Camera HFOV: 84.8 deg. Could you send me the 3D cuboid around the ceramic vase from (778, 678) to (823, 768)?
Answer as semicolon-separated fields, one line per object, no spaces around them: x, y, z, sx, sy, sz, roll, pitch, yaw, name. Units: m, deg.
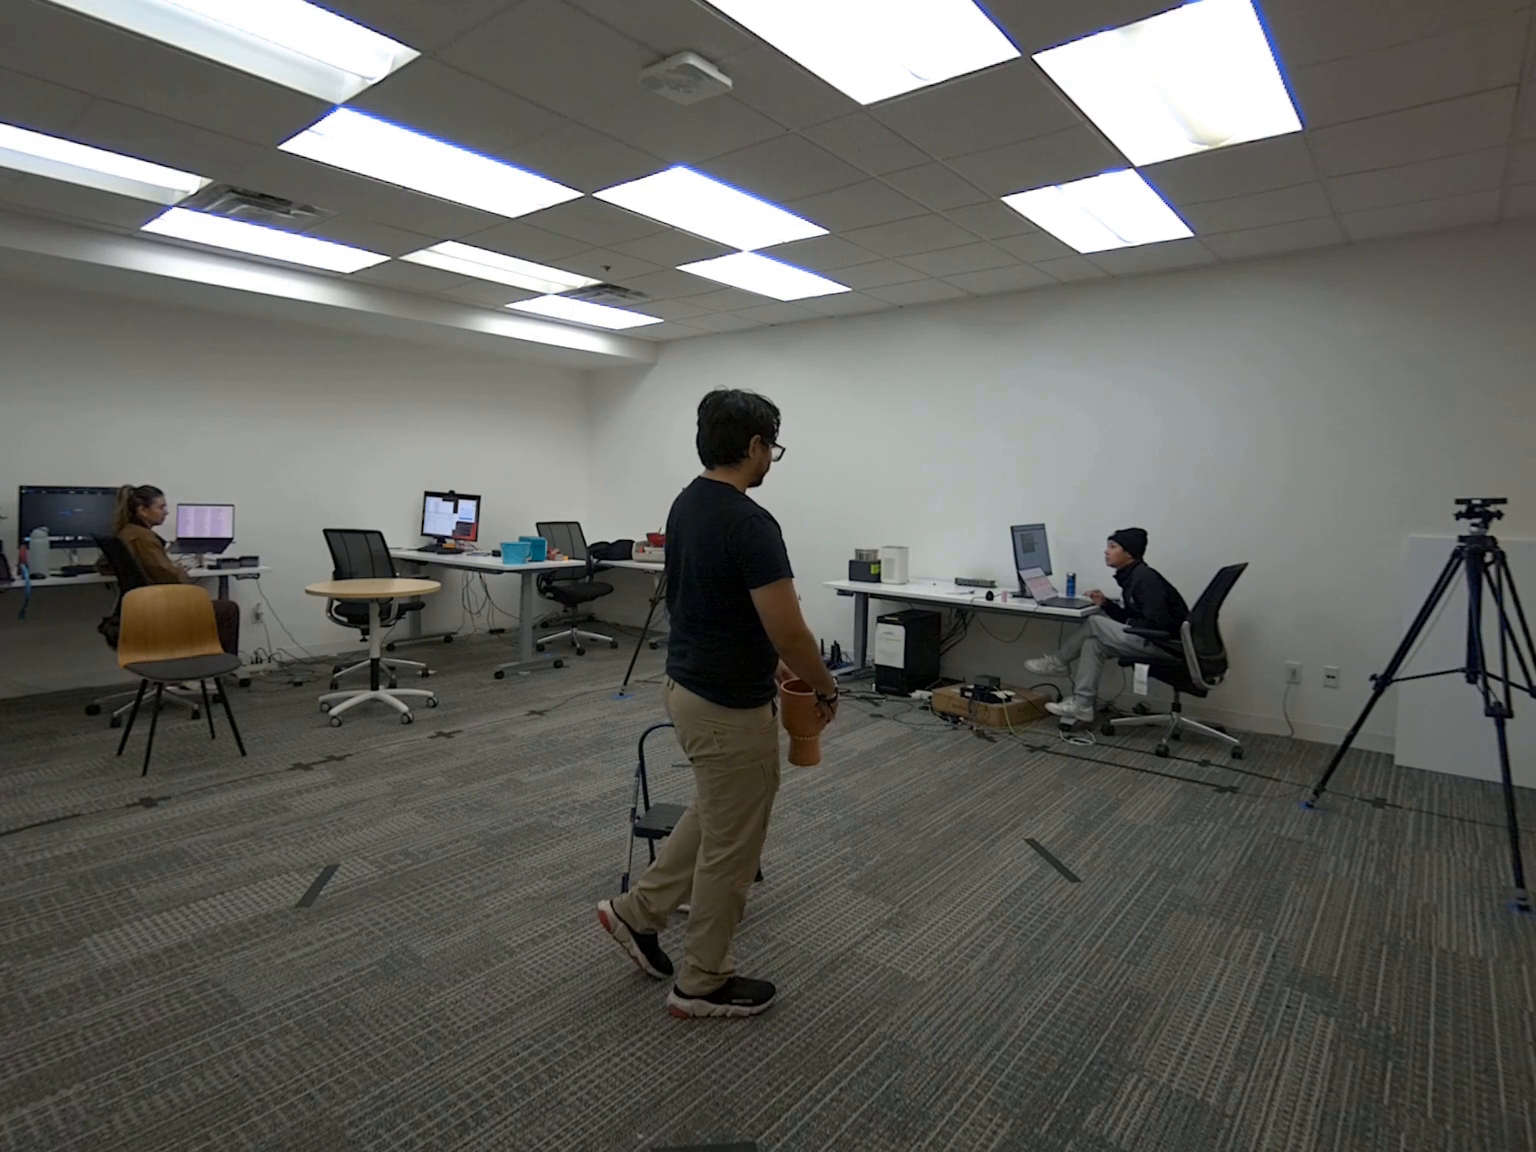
0.093;0.419;2.404;0.136;0.217;0.159;1;11;7;ceramic vase
